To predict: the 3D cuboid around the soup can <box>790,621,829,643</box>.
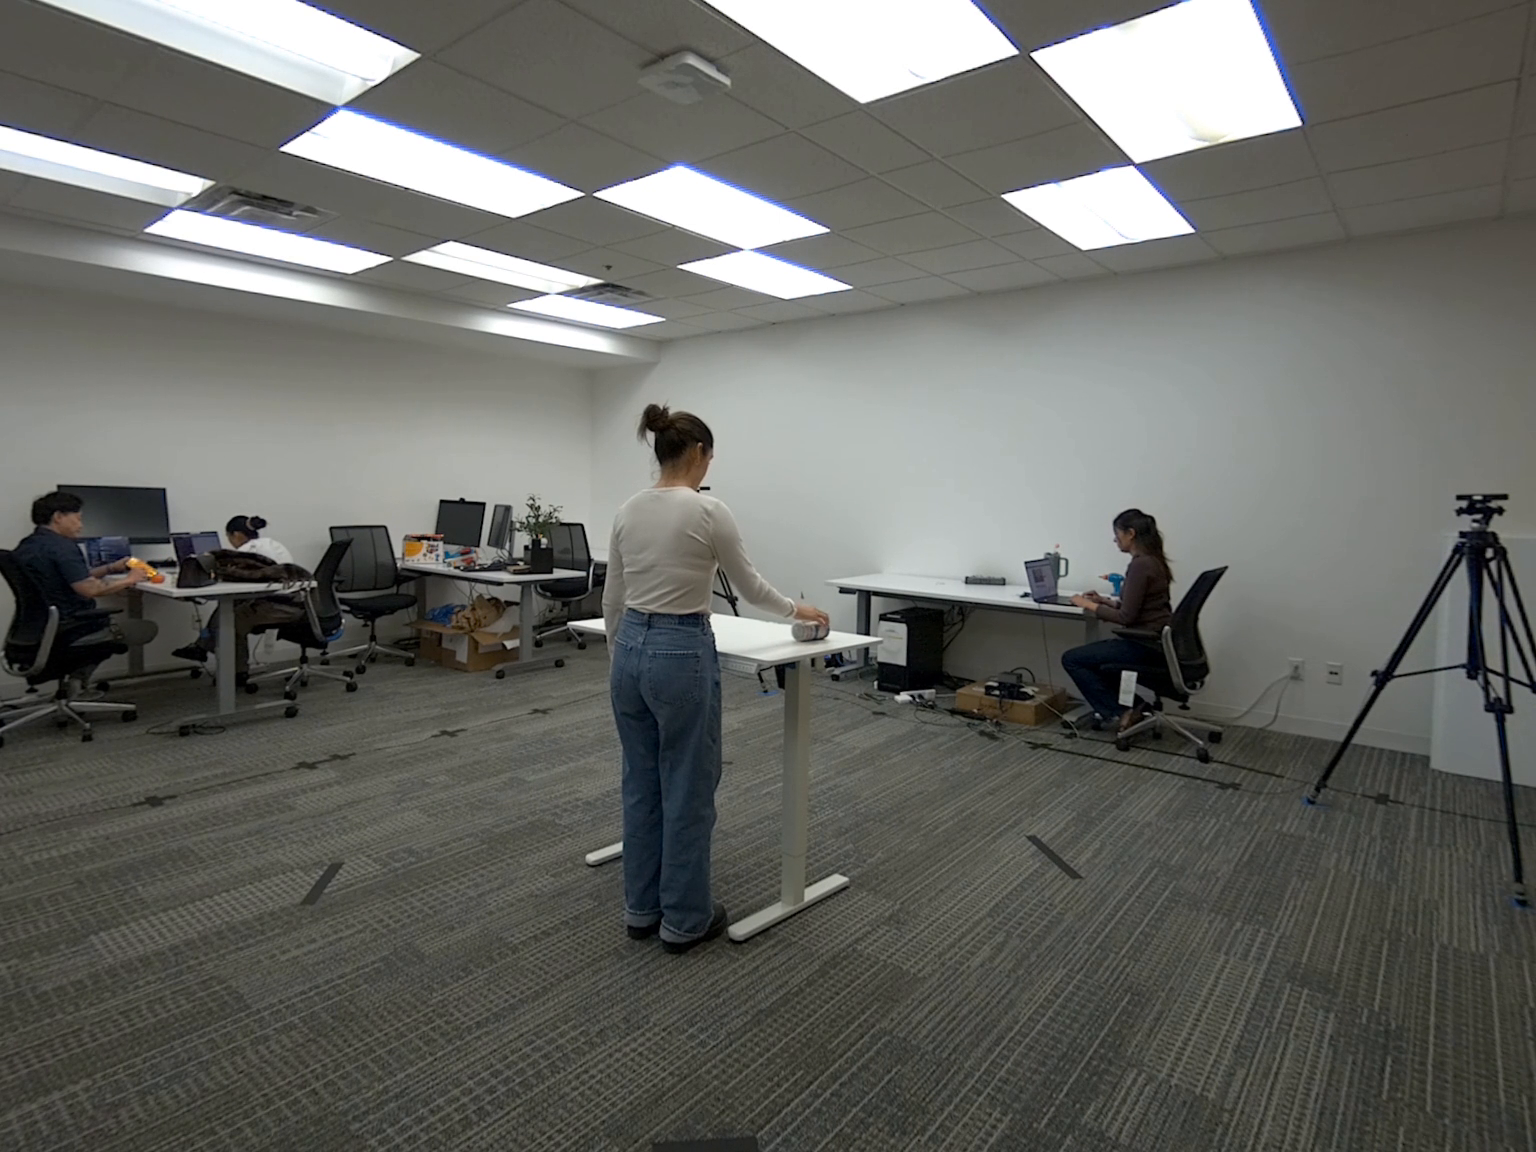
[{"bbox_3d":[0.140,0.182,2.848,0.118,0.067,0.069,-2,5,-31],"label":"soup can"}]
